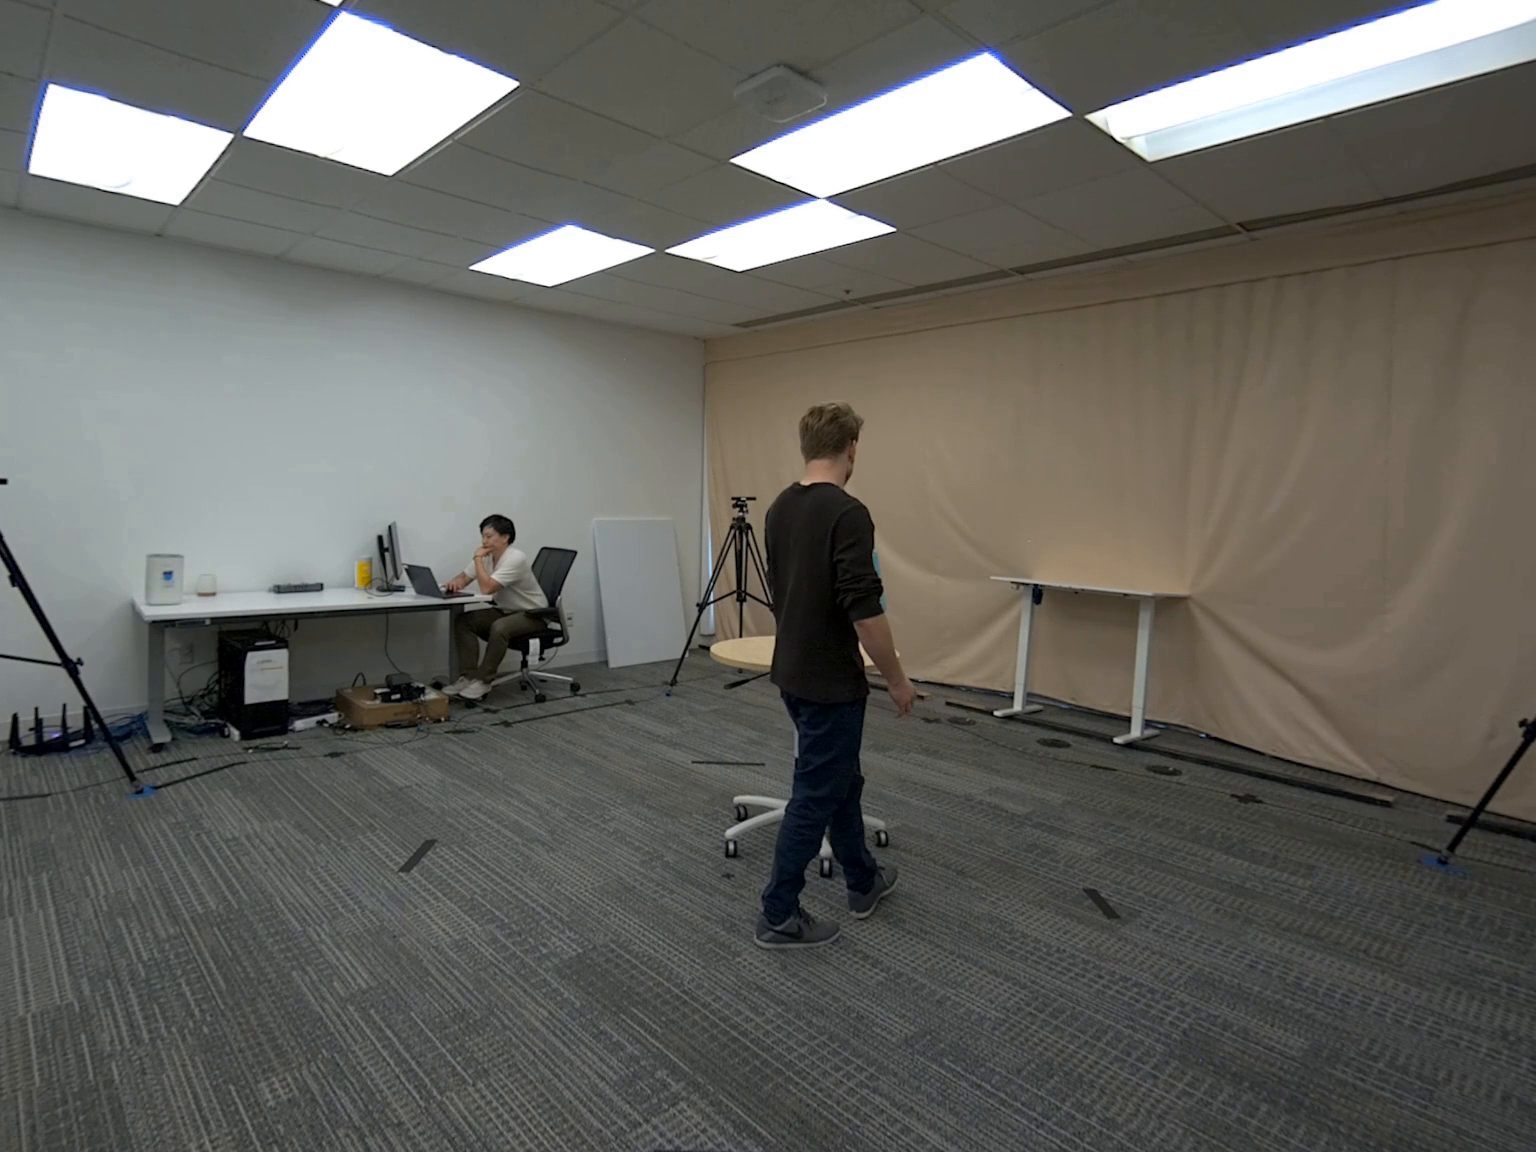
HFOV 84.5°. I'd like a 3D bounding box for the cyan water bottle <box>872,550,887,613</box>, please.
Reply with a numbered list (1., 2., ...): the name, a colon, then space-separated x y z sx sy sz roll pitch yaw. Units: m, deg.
1. cyan water bottle: 0.357 -0.006 3.052 0.092 0.284 0.092 -10 -4 -2
